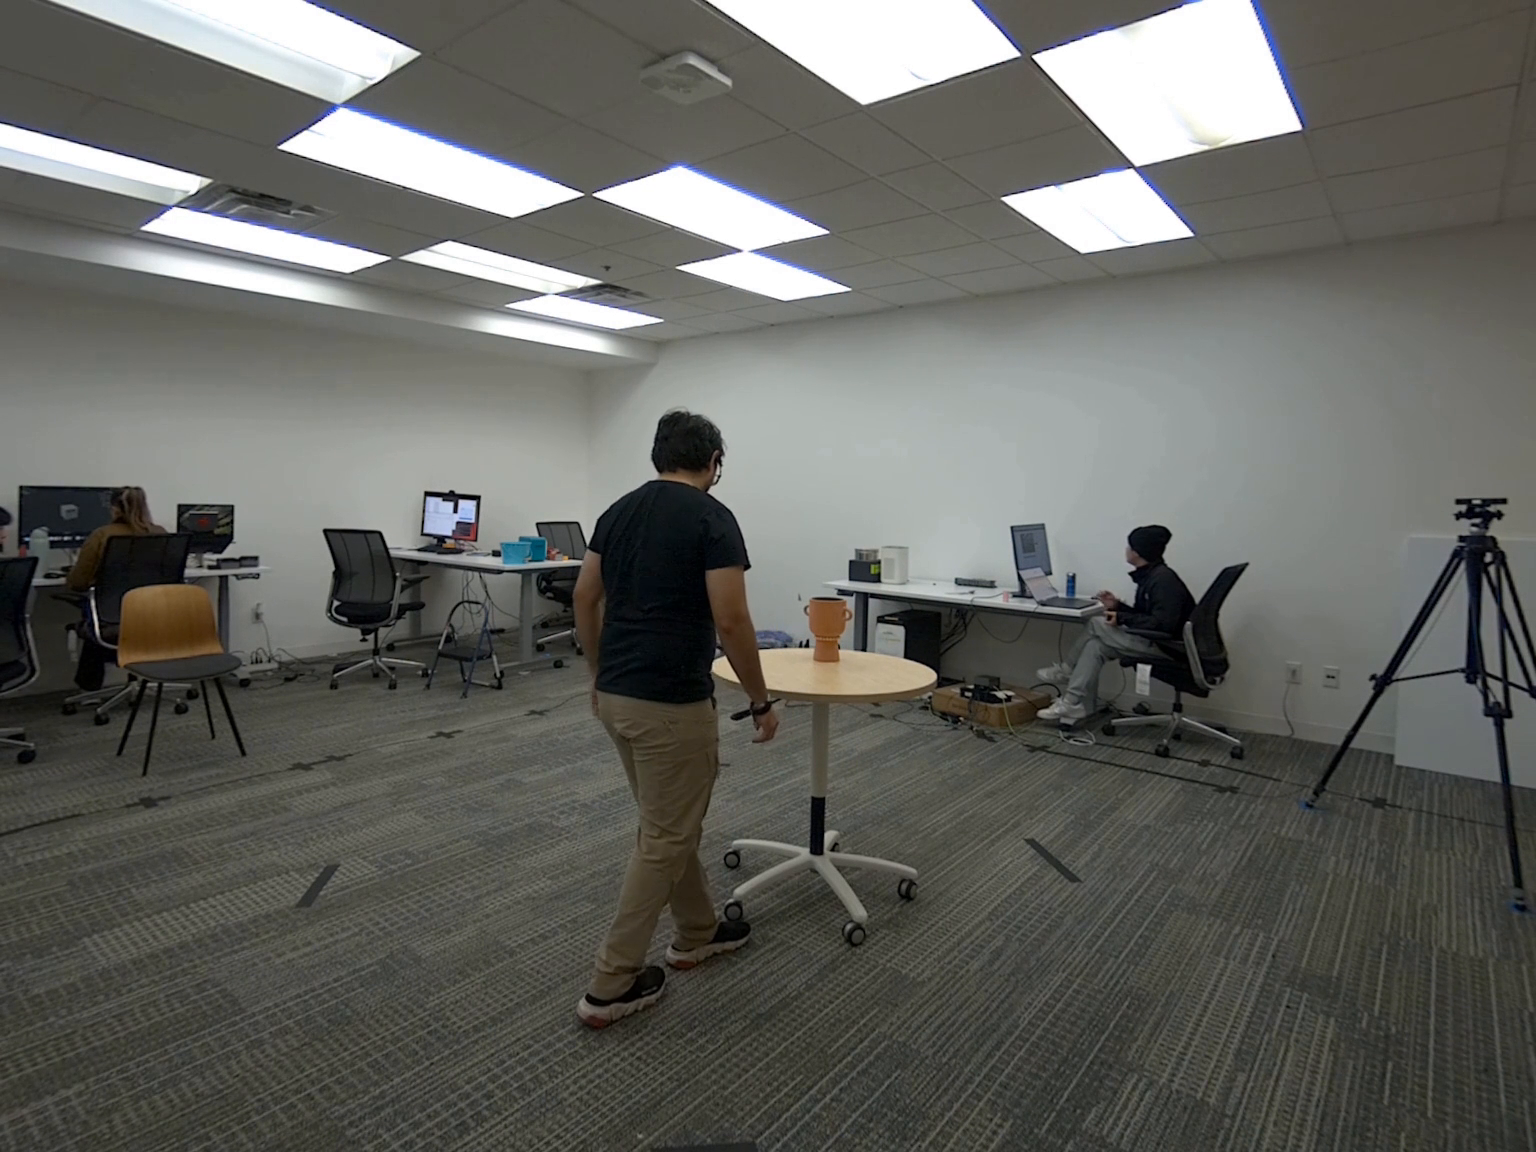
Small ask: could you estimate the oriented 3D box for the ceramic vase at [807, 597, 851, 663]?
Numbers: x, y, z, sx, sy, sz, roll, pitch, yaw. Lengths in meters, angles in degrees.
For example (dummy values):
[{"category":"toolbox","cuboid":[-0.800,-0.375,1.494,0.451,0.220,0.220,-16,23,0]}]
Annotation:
[{"category":"ceramic vase","cuboid":[0.206,0.191,3.072,0.132,0.219,0.162,-1,4,-18]}]
